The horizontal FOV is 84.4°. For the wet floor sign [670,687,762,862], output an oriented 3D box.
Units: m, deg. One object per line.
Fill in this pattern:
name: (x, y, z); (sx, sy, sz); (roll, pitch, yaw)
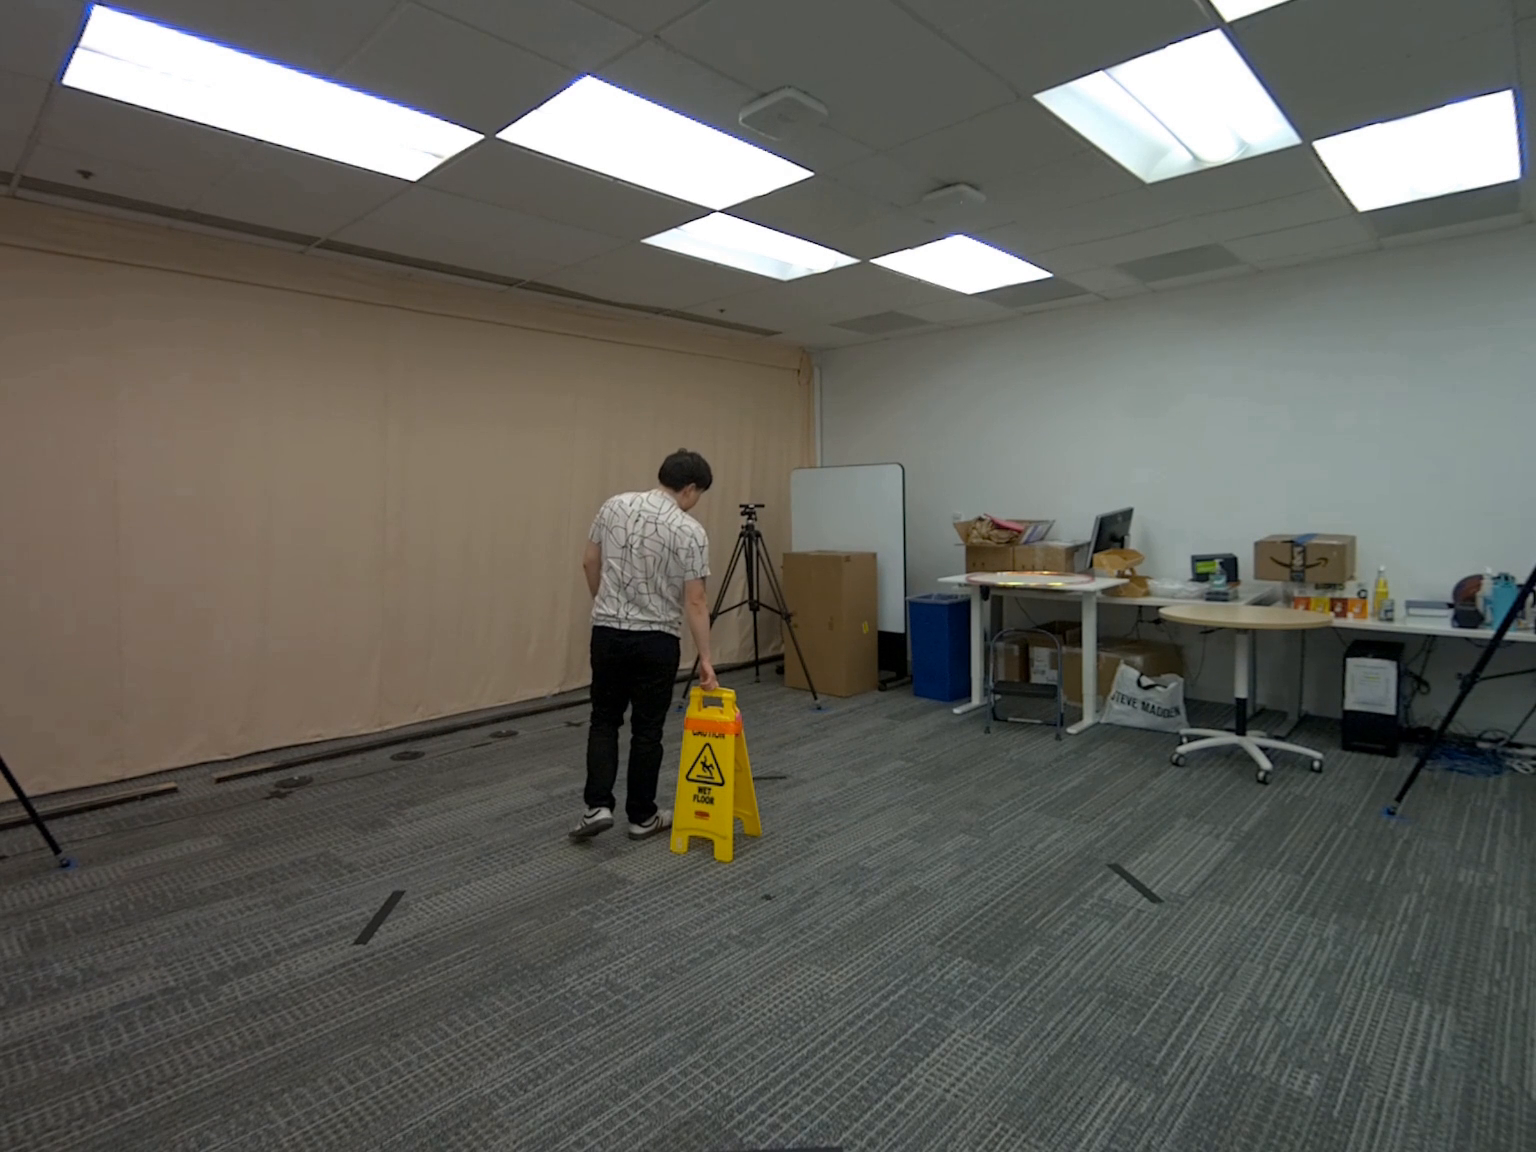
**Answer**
wet floor sign: (-0.217, 0.780, 3.453); (0.289, 0.644, 0.283); (-1, 4, 26)
